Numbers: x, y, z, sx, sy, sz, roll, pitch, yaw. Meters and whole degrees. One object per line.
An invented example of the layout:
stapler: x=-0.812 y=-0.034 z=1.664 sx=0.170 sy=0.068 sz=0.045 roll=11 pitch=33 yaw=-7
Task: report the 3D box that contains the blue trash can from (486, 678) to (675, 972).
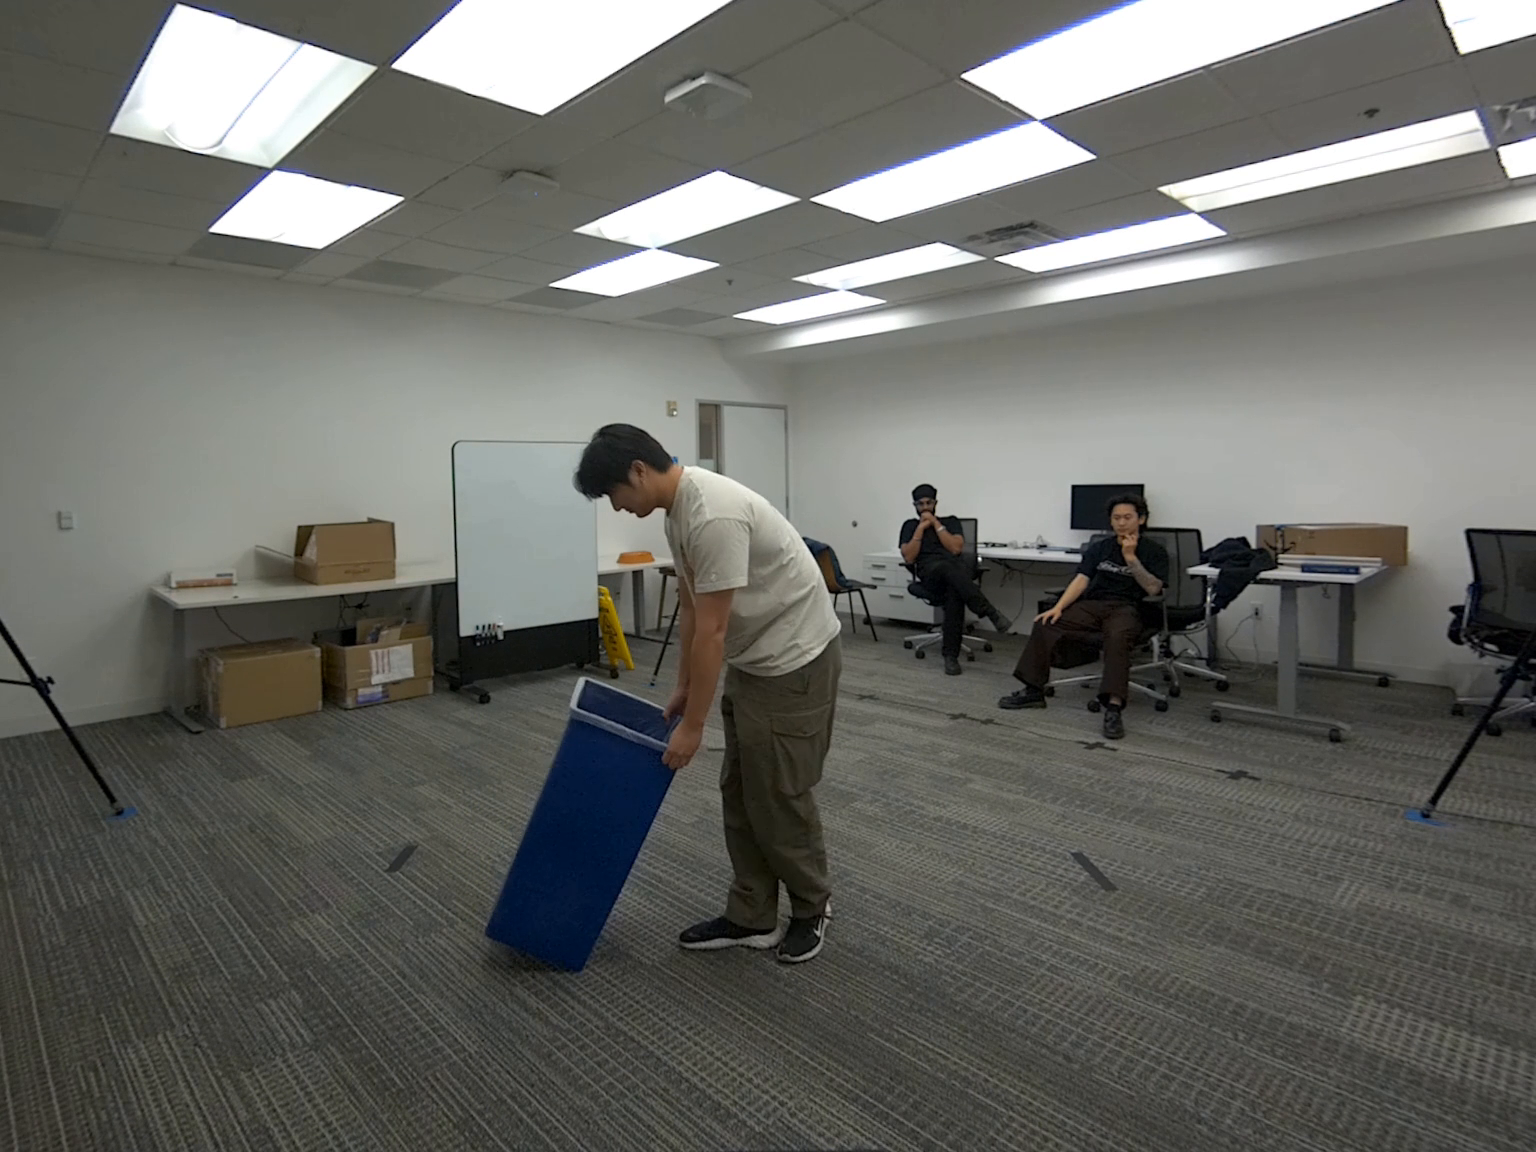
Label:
blue trash can: x=-0.543 y=0.728 z=2.550 sx=0.371 sy=0.713 sz=0.382 roll=24 pitch=2 yaw=-8
